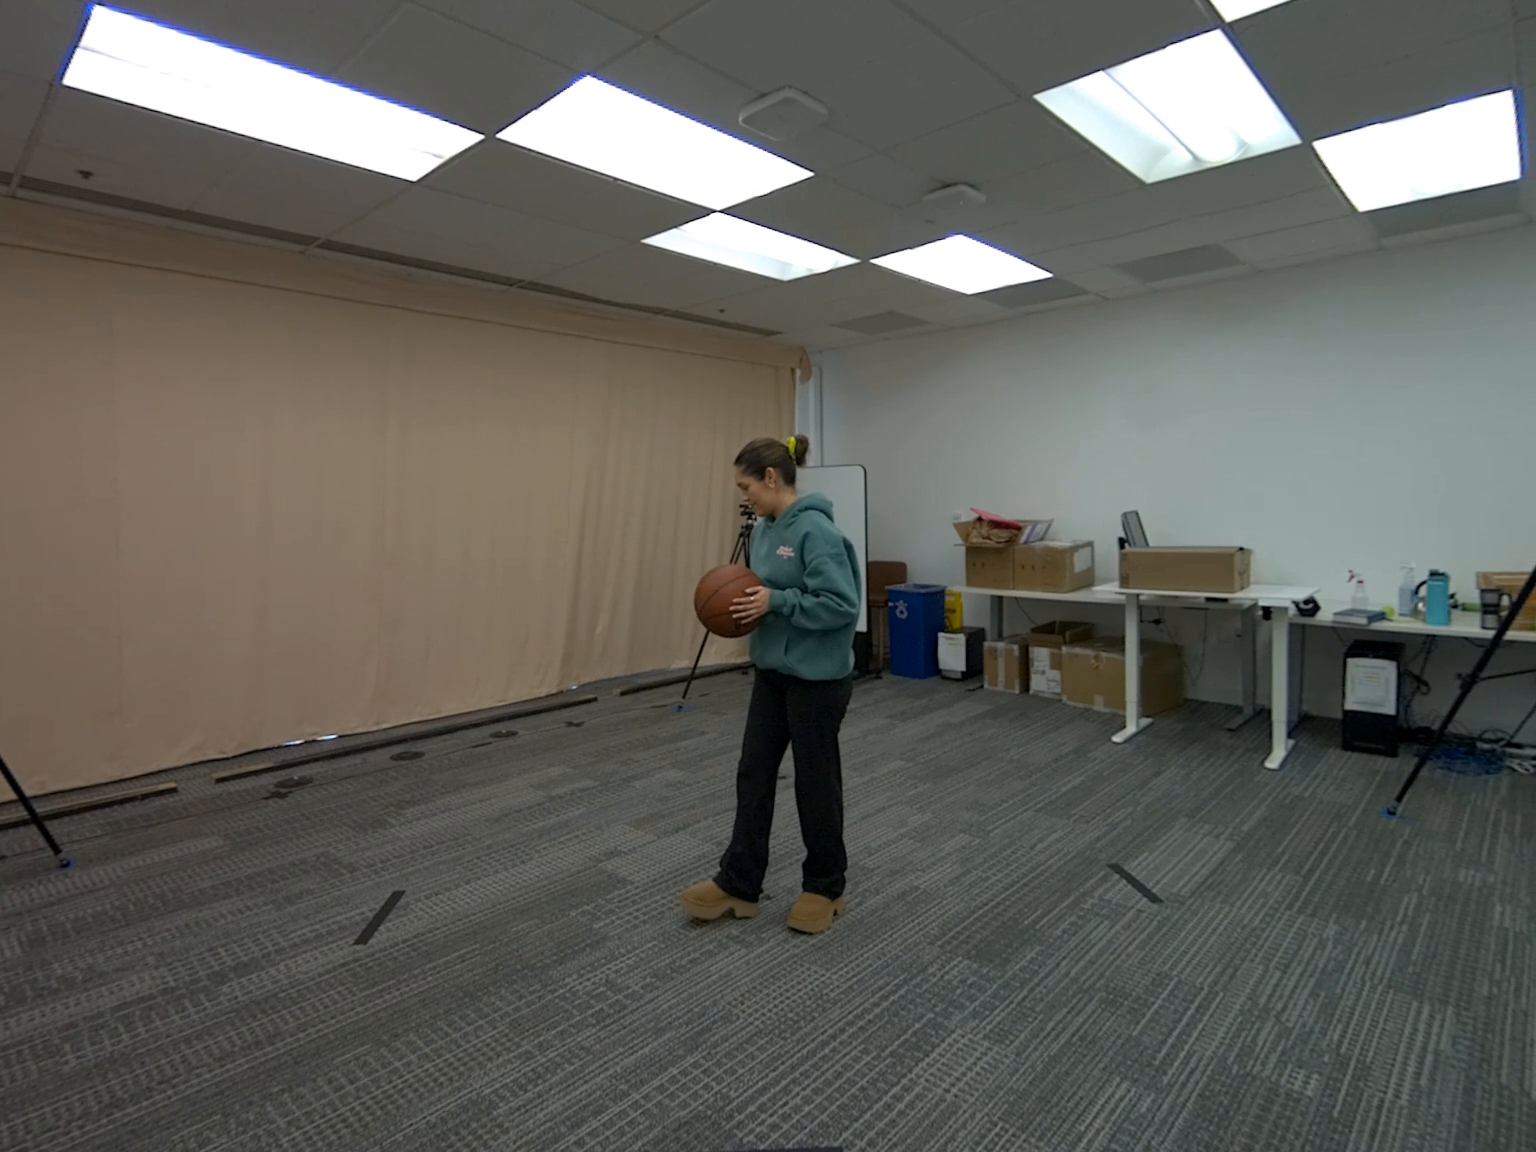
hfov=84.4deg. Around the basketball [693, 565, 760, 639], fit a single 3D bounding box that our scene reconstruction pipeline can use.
[{"bbox_3d":[-0.122,0.080,2.691,0.236,0.235,0.237,-1,4,-2],"label":"basketball"}]
